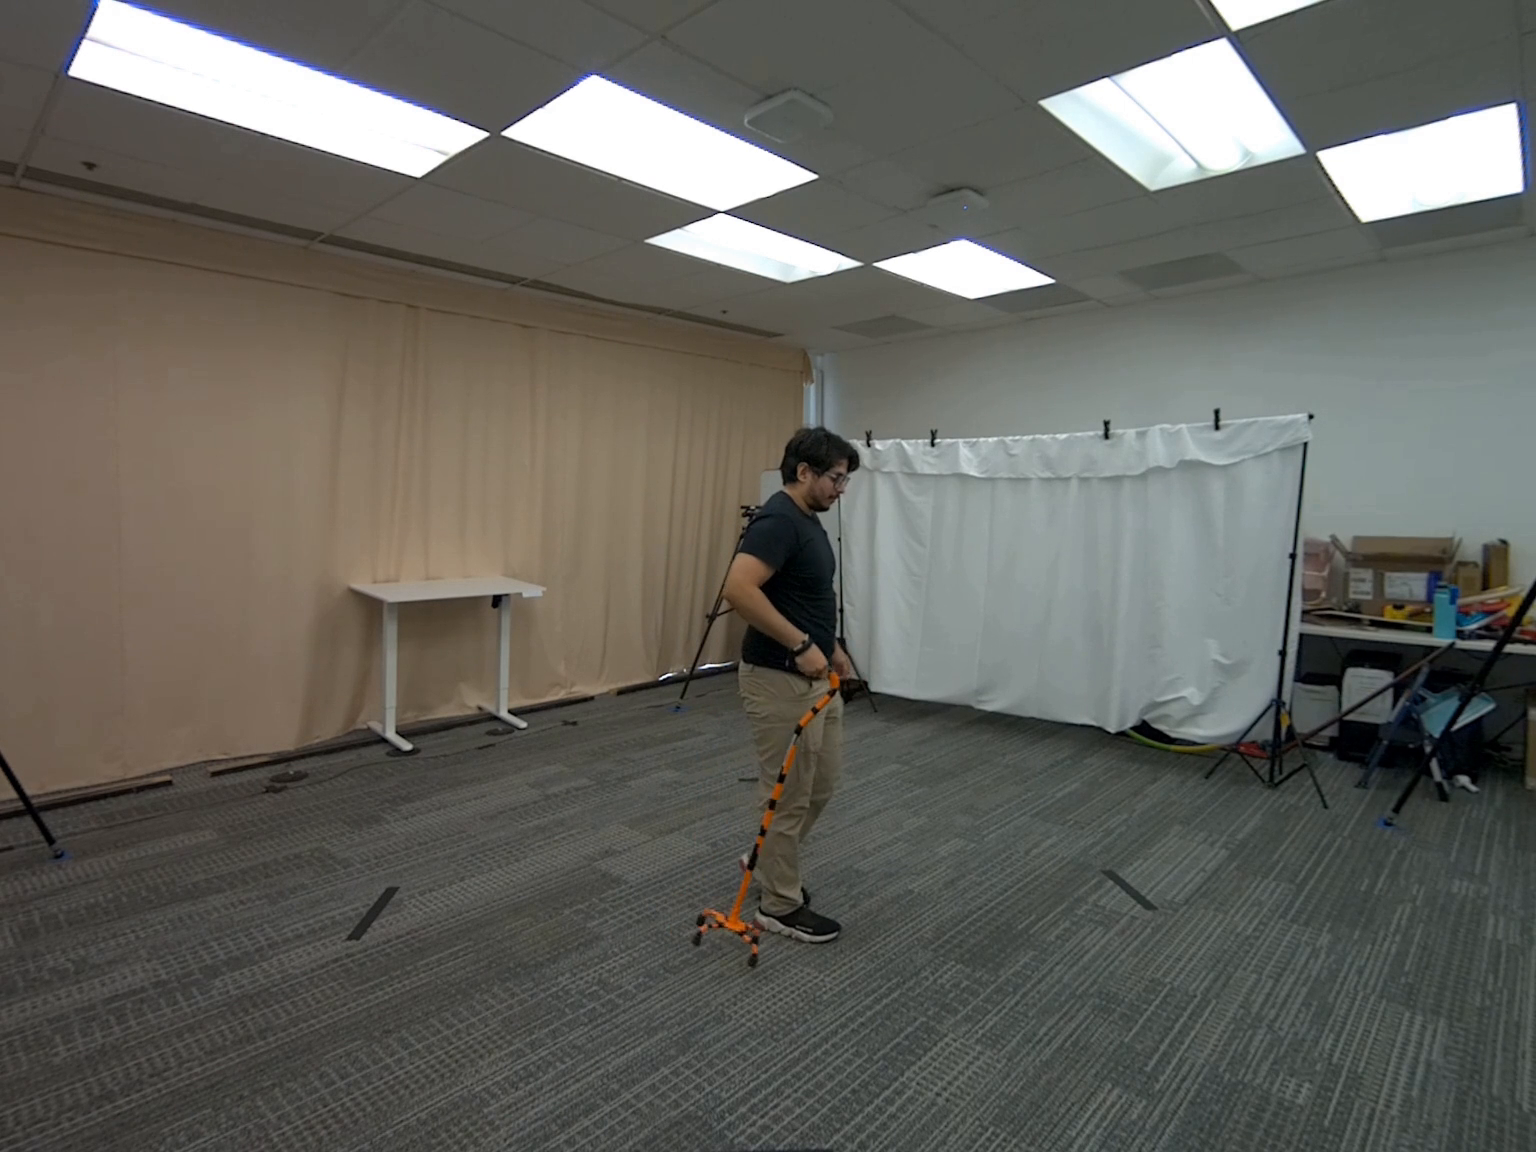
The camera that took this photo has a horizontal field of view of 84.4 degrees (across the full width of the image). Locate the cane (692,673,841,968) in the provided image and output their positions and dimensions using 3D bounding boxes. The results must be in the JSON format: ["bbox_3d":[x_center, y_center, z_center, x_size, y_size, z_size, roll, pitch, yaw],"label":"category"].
[{"bbox_3d":[0.022,0.694,2.521,0.208,0.907,0.150,18,4,6],"label":"cane"}]
